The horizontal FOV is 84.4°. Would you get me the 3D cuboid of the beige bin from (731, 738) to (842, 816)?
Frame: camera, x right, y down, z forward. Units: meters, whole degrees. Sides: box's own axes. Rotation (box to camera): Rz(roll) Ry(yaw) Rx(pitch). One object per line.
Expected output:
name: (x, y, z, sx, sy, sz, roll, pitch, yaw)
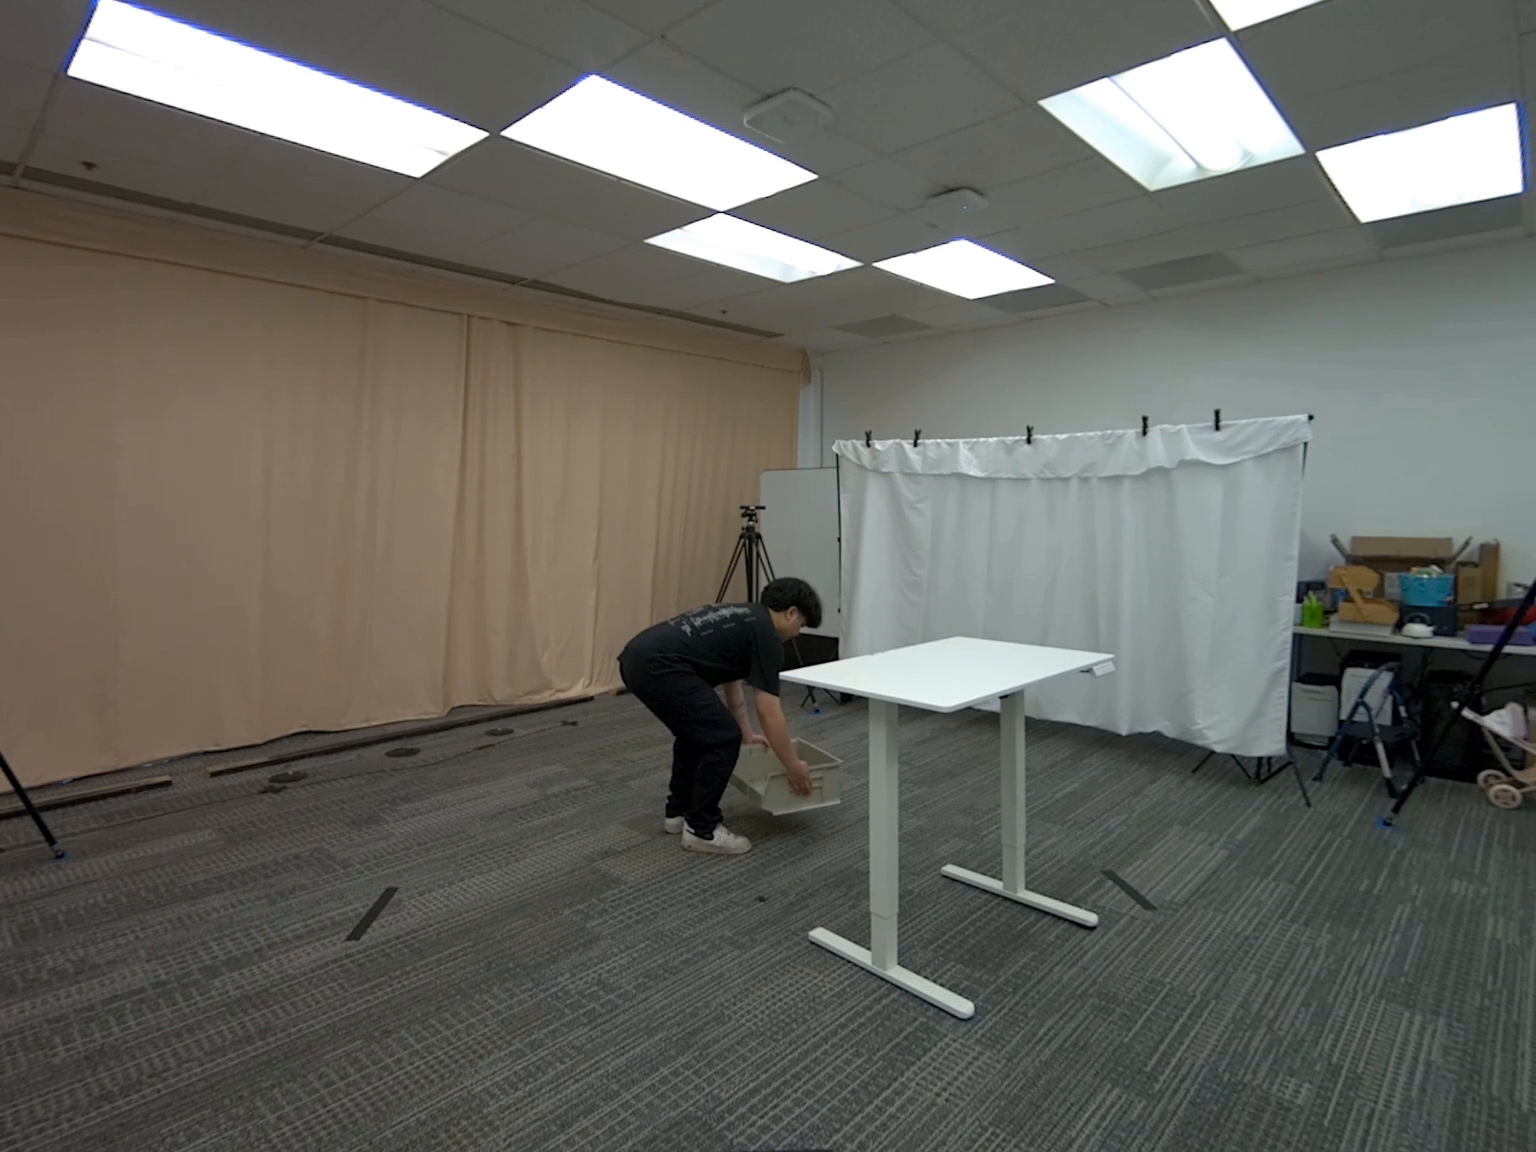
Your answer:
beige bin: (0.059, 0.868, 3.678, 0.369, 0.188, 0.433, -3, 5, -23)
